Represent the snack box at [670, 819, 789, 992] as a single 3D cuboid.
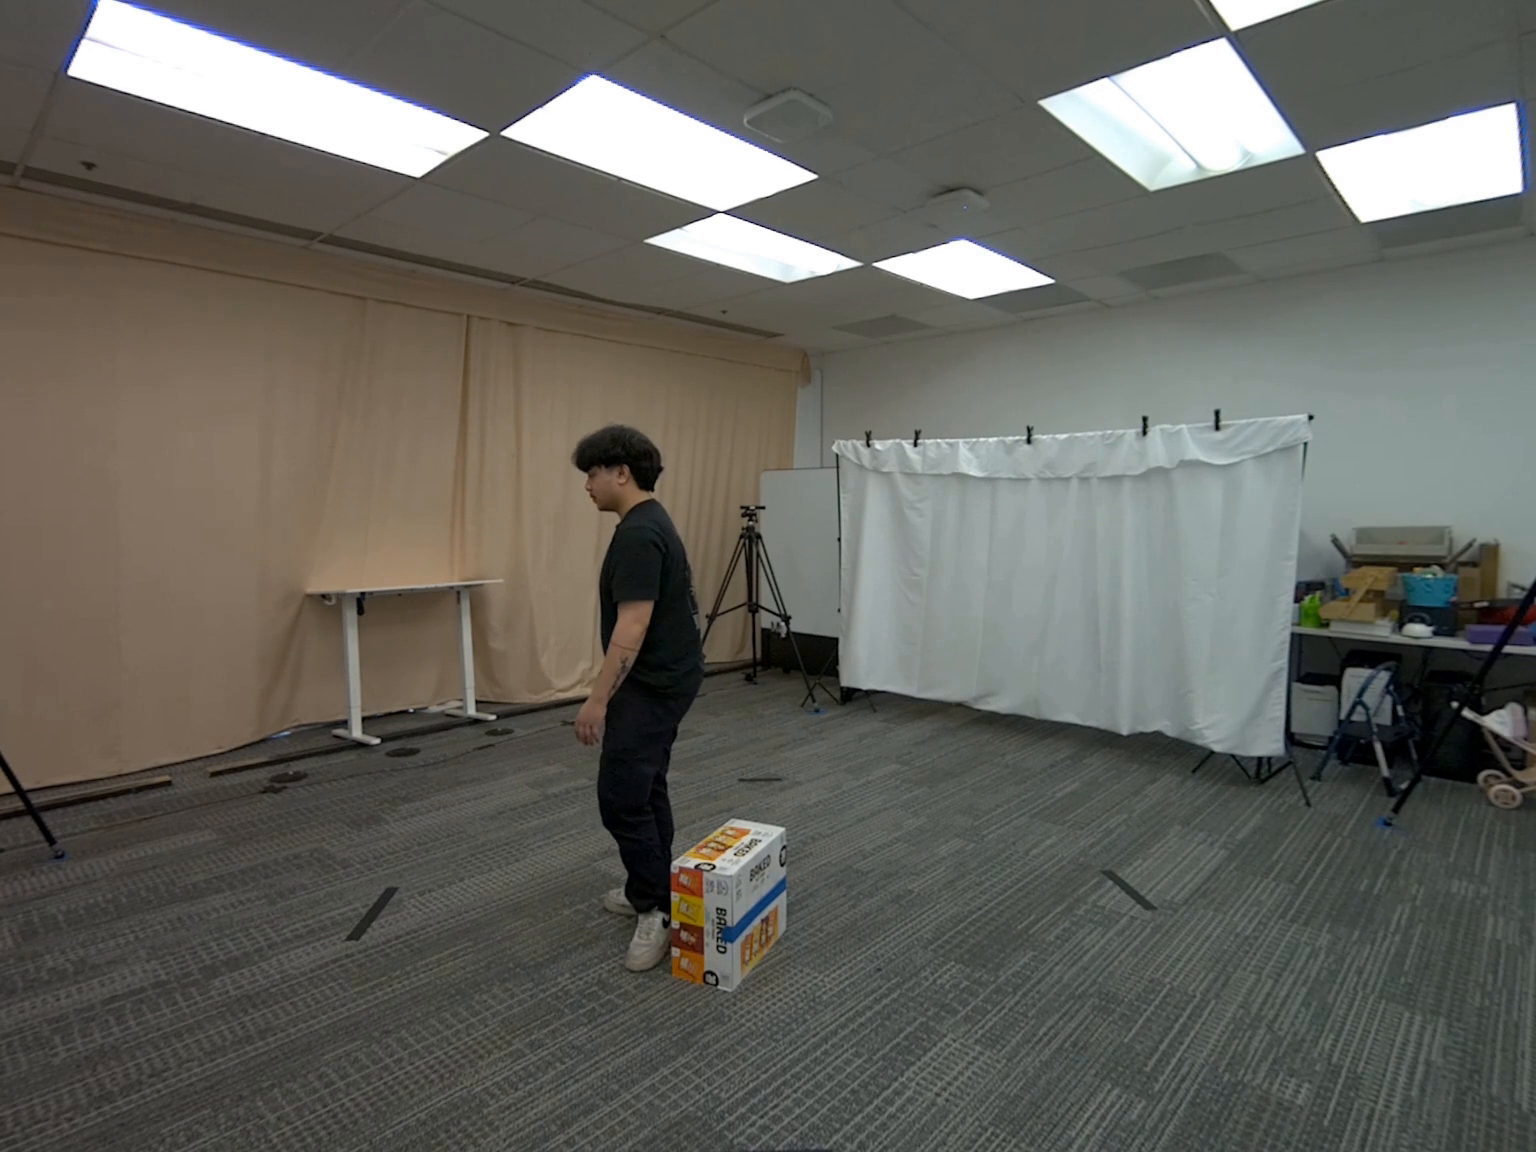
[{"bbox_3d":[-0.110,1.005,2.622,0.211,0.340,0.395,1,4,25],"label":"snack box"}]
